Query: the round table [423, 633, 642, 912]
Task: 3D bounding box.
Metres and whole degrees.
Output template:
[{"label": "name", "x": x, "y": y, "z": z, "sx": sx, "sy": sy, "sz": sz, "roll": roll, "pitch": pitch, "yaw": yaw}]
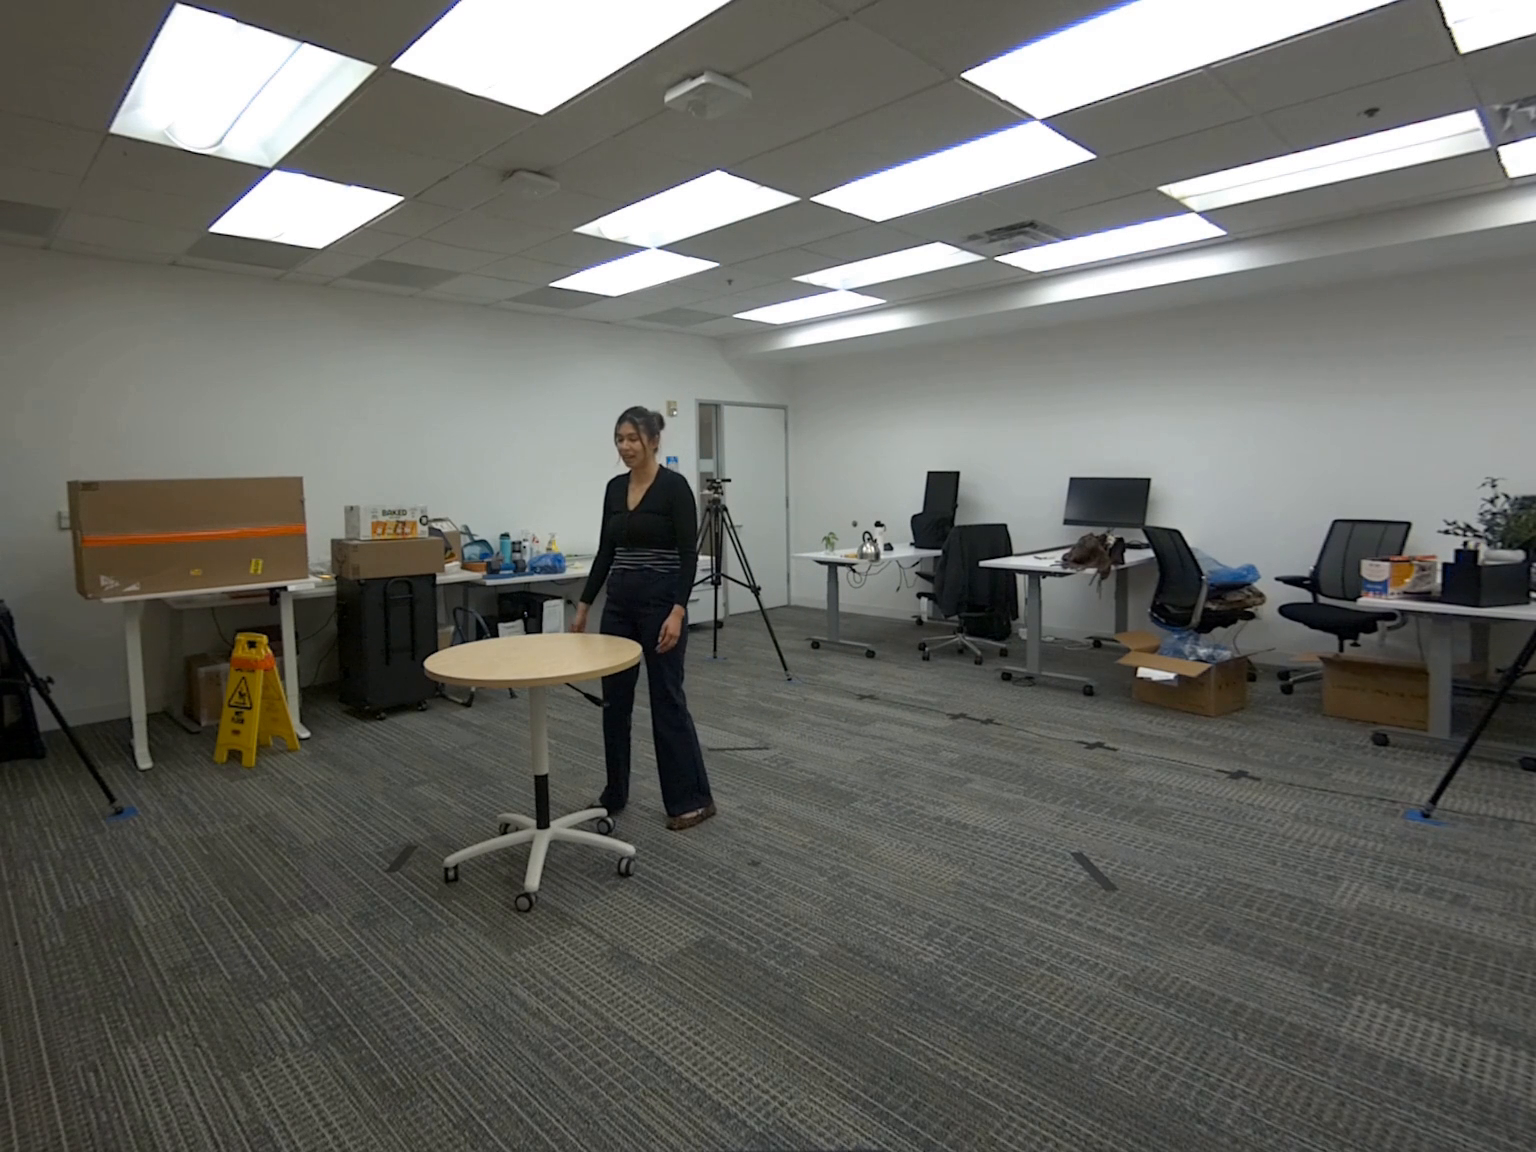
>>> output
[{"label": "round table", "x": -0.824, "y": 0.671, "z": 3.105, "sx": 0.763, "sy": 0.790, "sz": 0.768, "roll": -2, "pitch": 5, "yaw": -1}]
